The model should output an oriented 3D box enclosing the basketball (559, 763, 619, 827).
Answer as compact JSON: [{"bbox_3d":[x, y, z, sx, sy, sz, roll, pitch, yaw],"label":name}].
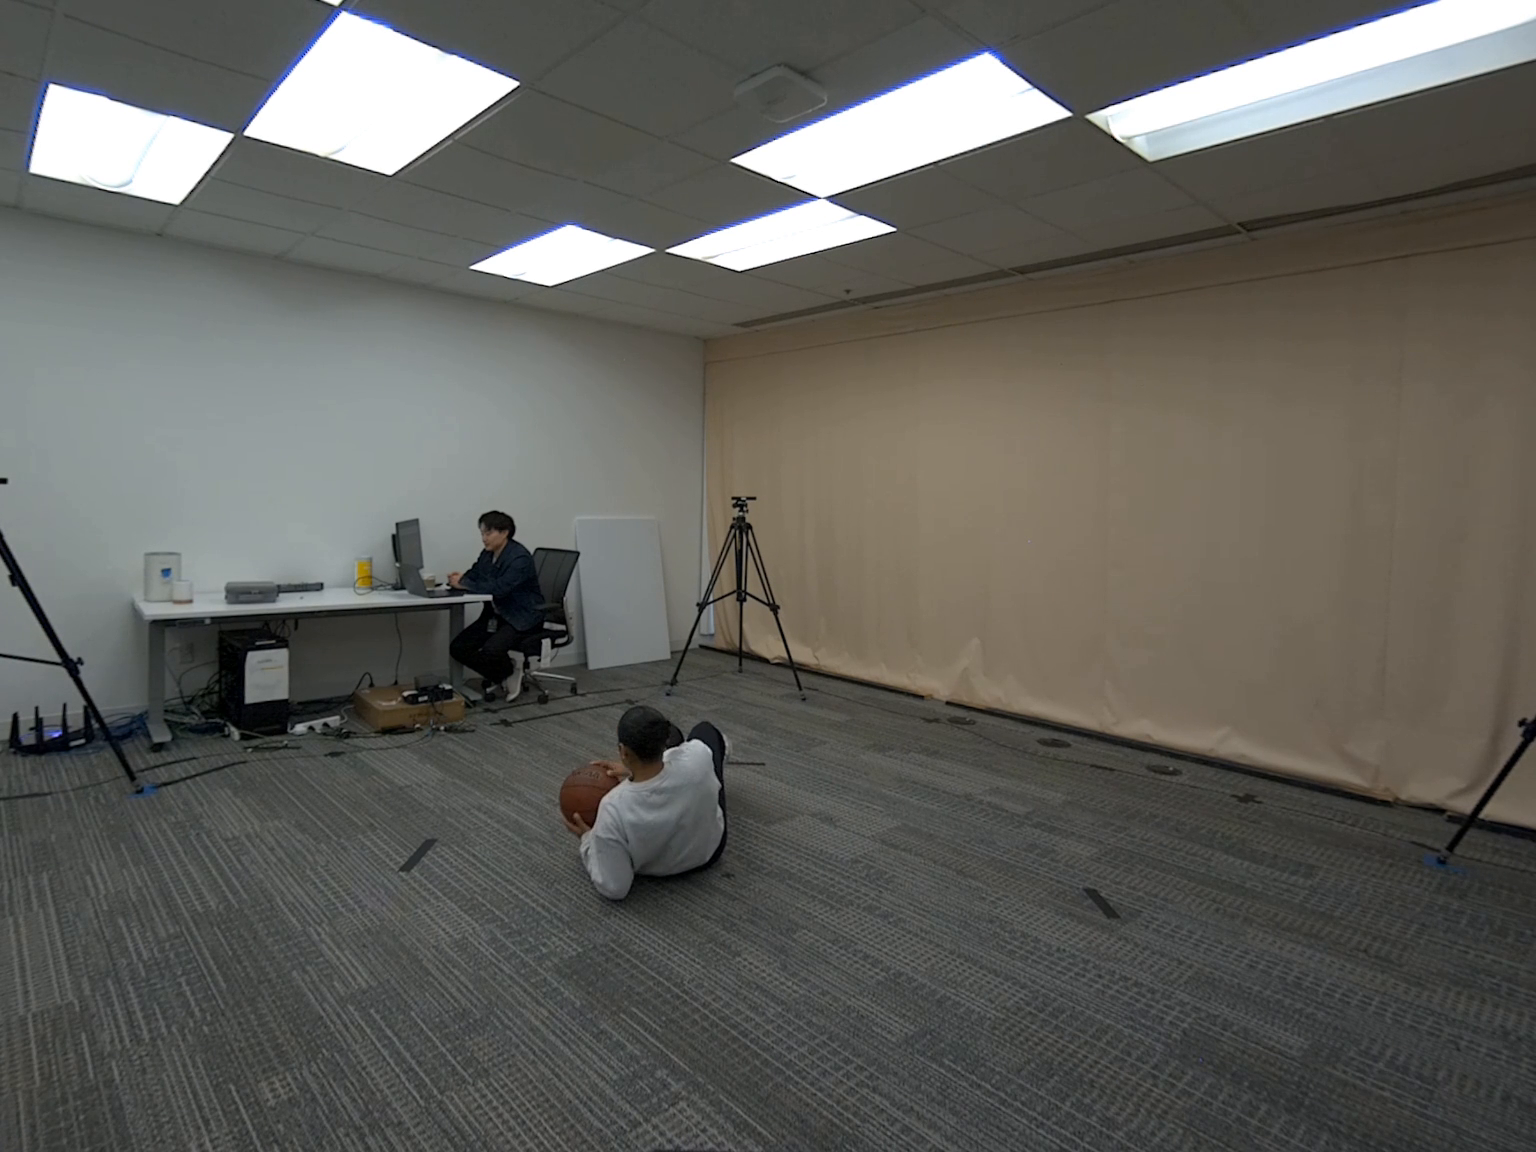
[{"bbox_3d":[-0.652,0.824,3.162,0.236,0.235,0.237,1,4,-1],"label":"basketball"}]
